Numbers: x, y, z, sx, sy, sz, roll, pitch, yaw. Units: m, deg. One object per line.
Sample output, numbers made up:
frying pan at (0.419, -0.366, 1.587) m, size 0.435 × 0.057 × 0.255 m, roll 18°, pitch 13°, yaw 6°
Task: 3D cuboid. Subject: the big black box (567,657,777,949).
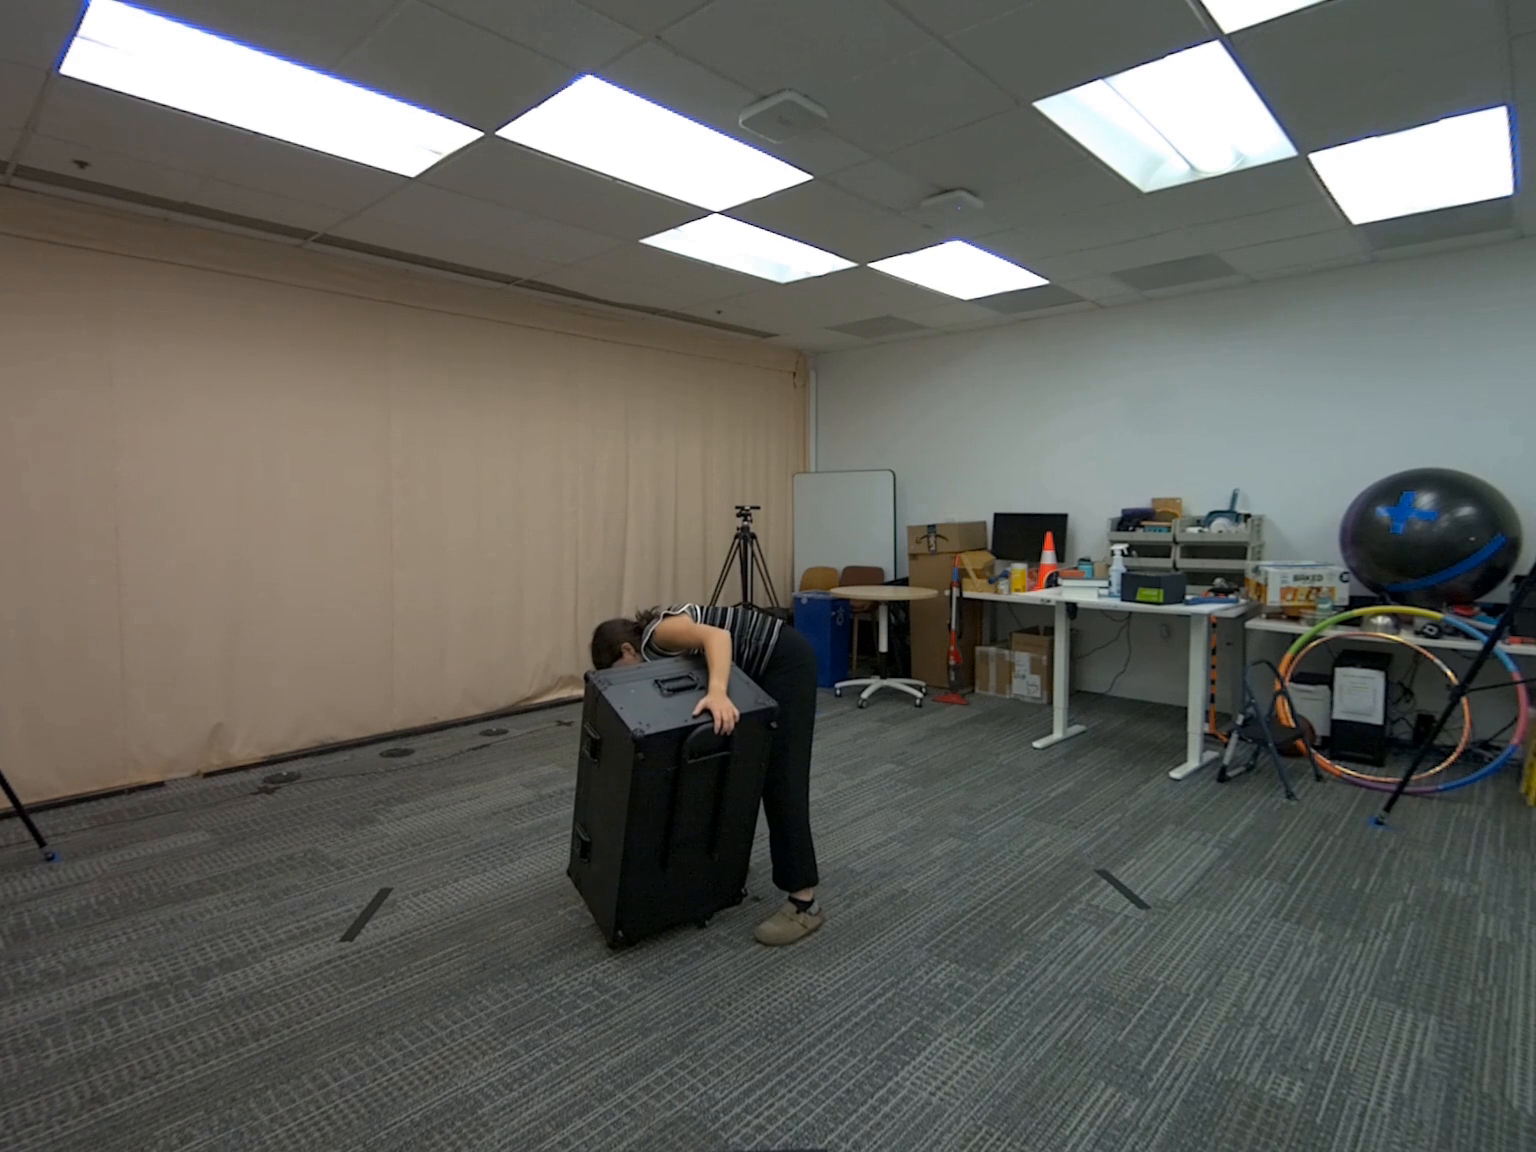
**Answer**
big black box at (-0.321, 0.725, 2.683) m, size 0.507 × 0.853 × 0.411 m, roll -7°, pitch 27°, yaw -33°
